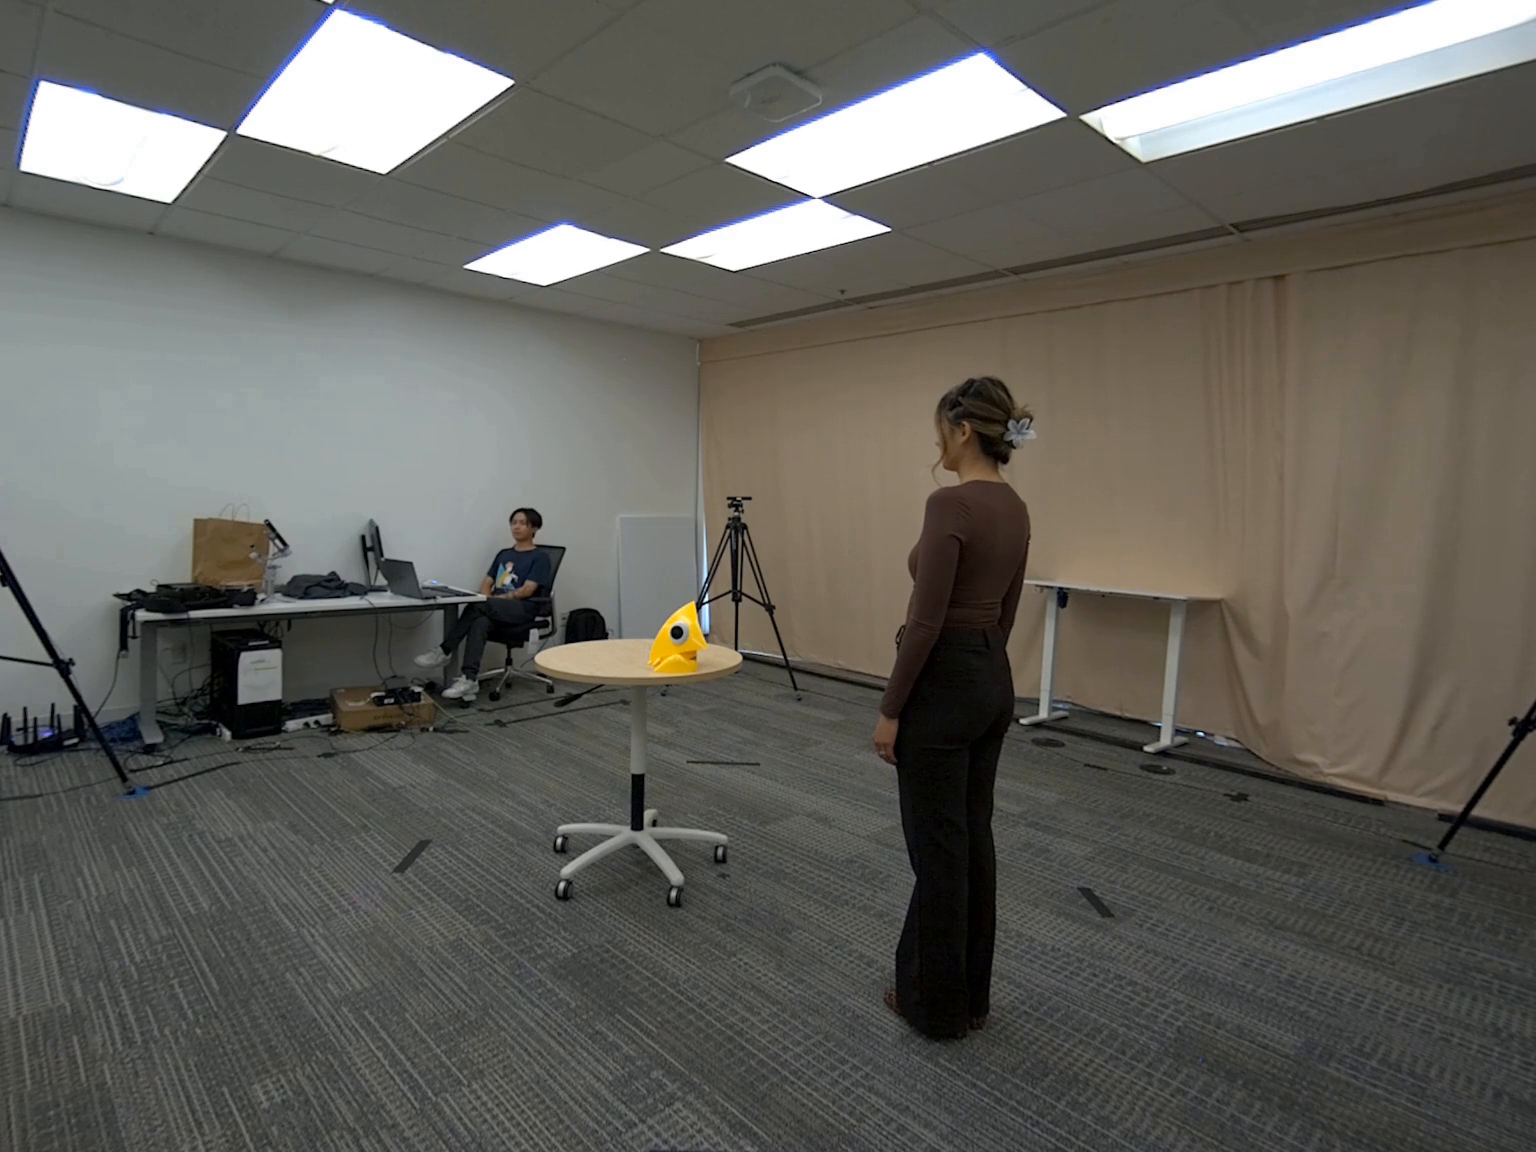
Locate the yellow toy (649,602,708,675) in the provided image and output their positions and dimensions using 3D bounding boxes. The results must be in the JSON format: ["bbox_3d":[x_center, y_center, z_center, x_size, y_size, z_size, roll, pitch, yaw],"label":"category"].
[{"bbox_3d":[-0.326,0.205,2.936,0.191,0.230,0.208,1,4,-16],"label":"yellow toy"}]
